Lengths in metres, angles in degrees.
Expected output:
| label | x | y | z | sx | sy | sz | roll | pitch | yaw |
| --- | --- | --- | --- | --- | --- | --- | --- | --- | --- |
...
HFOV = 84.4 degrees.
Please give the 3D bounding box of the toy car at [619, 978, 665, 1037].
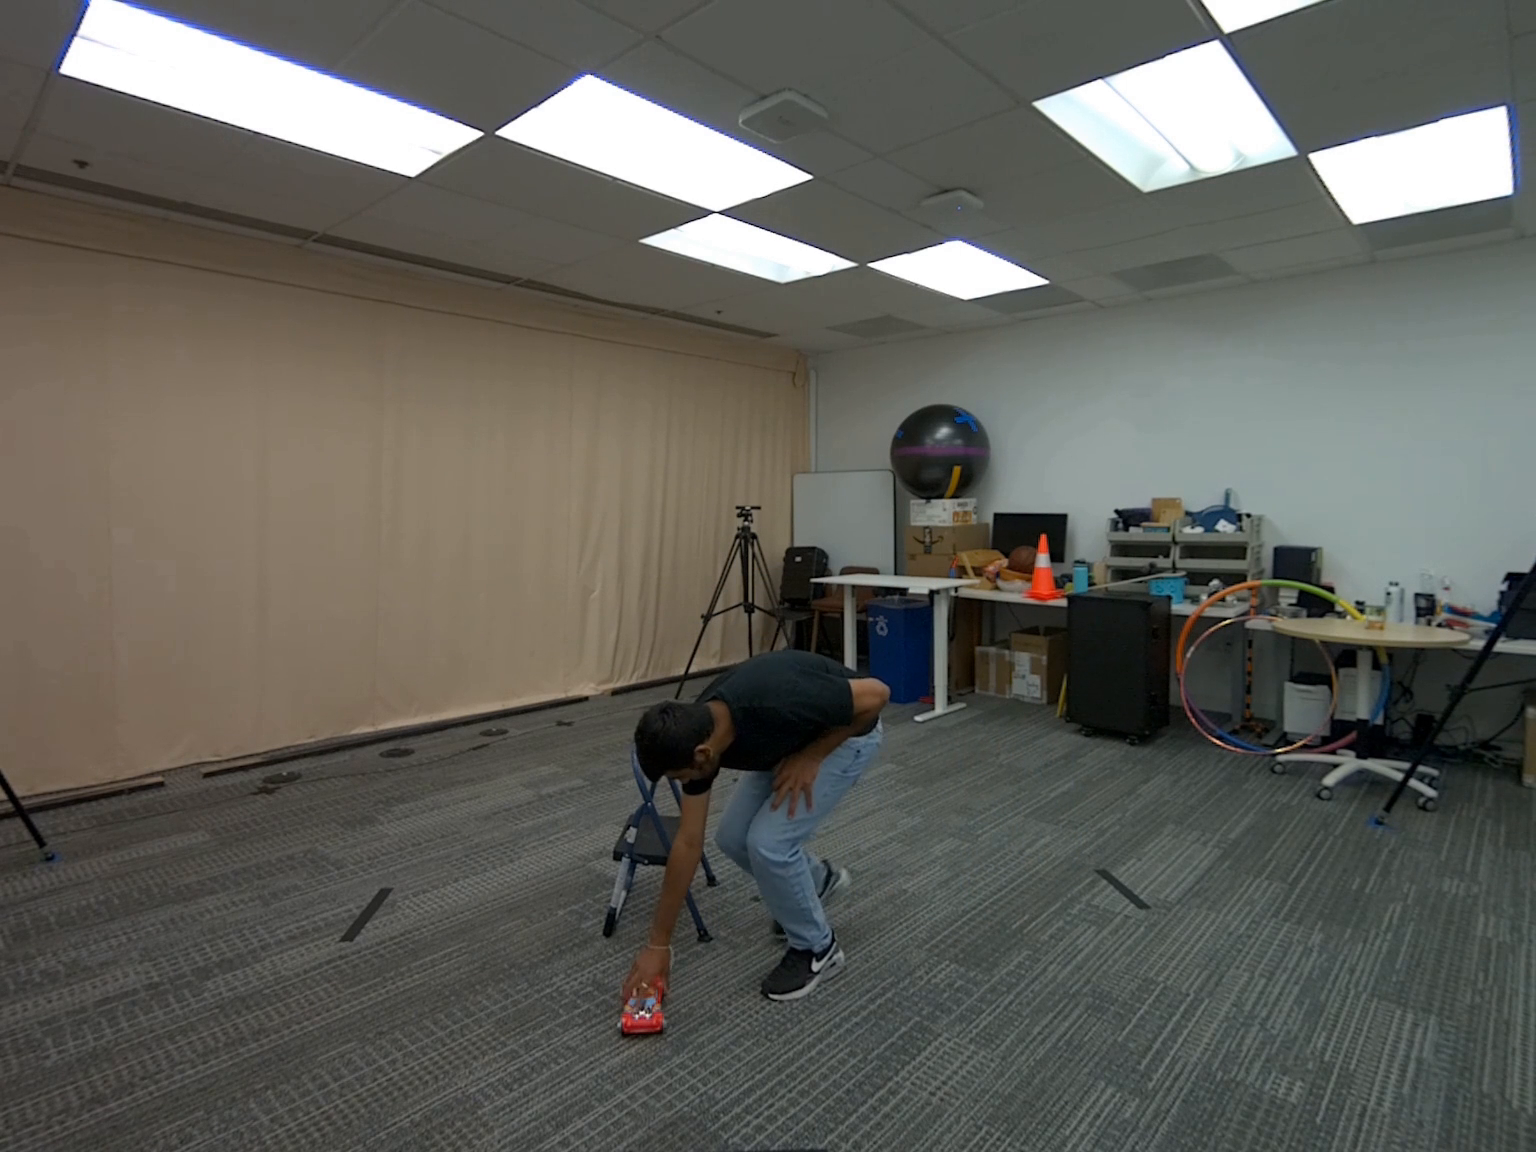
| label | x | y | z | sx | sy | sz | roll | pitch | yaw |
| --- | --- | --- | --- | --- | --- | --- | --- | --- | --- |
| toy car | -0.353 | 1.170 | 2.316 | 0.130 | 0.082 | 0.258 | -2 | 15 | -6 |
